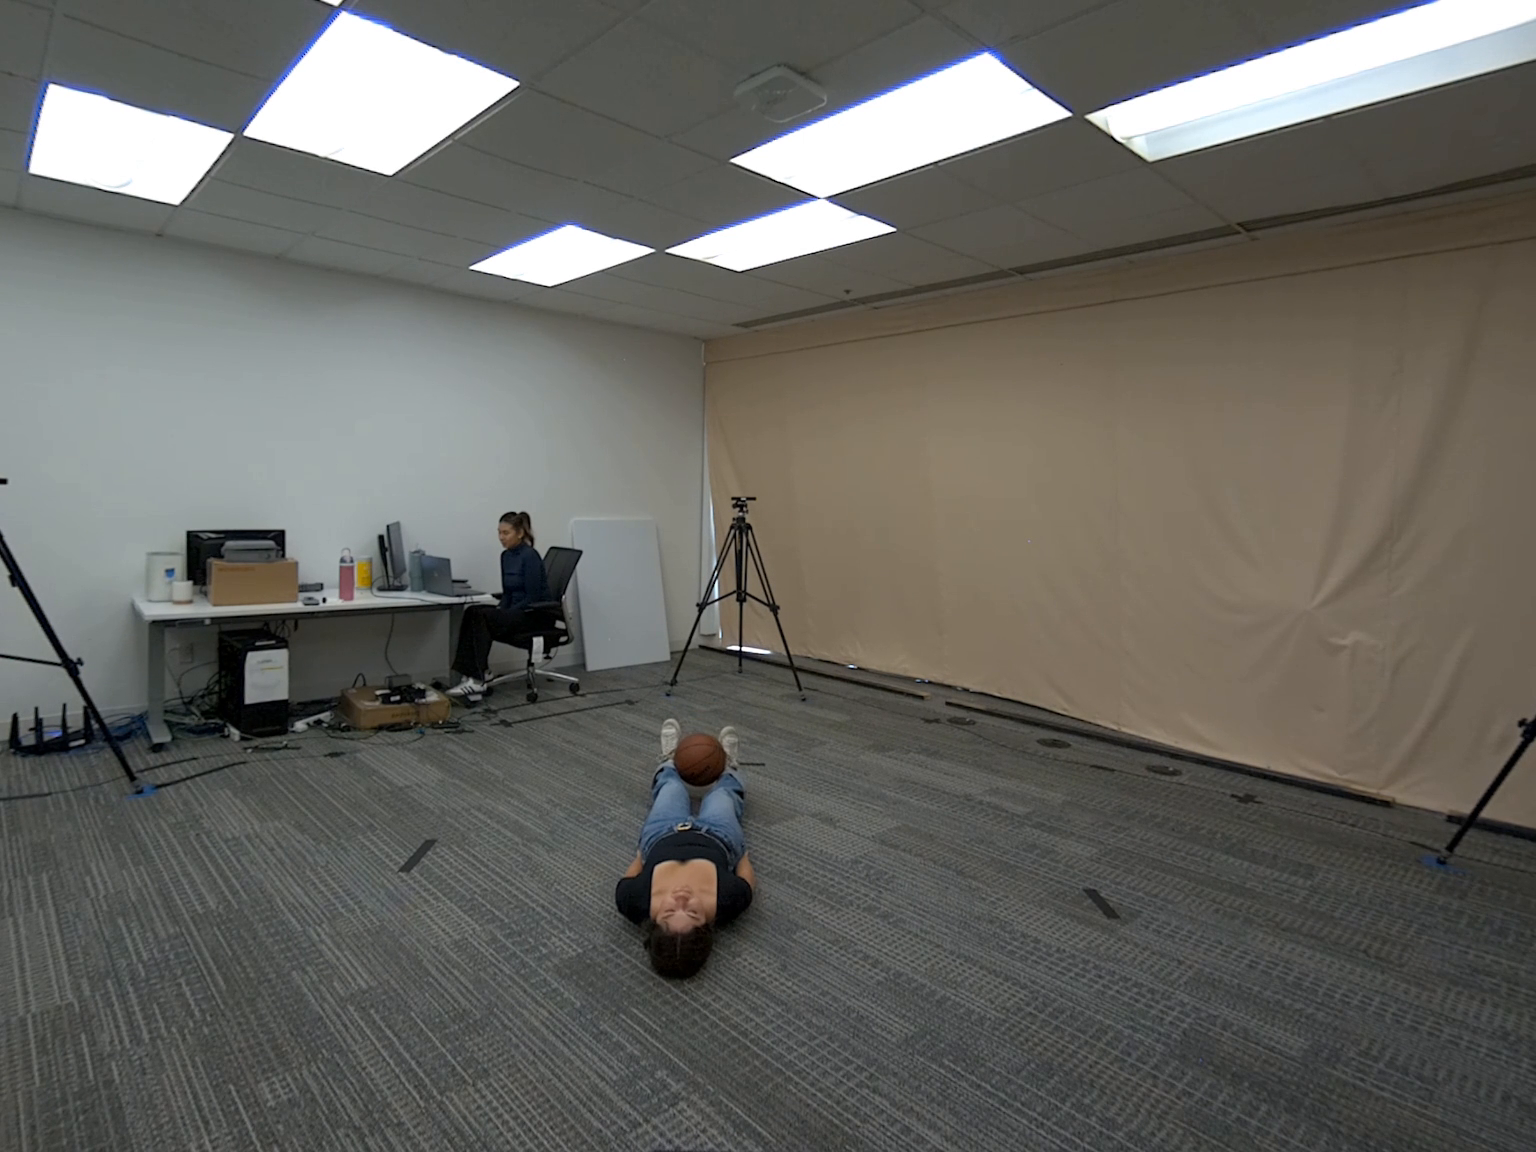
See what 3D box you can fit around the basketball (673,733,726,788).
[{"bbox_3d":[-0.323,0.836,3.865,0.236,0.235,0.237,1,4,-1],"label":"basketball"}]
